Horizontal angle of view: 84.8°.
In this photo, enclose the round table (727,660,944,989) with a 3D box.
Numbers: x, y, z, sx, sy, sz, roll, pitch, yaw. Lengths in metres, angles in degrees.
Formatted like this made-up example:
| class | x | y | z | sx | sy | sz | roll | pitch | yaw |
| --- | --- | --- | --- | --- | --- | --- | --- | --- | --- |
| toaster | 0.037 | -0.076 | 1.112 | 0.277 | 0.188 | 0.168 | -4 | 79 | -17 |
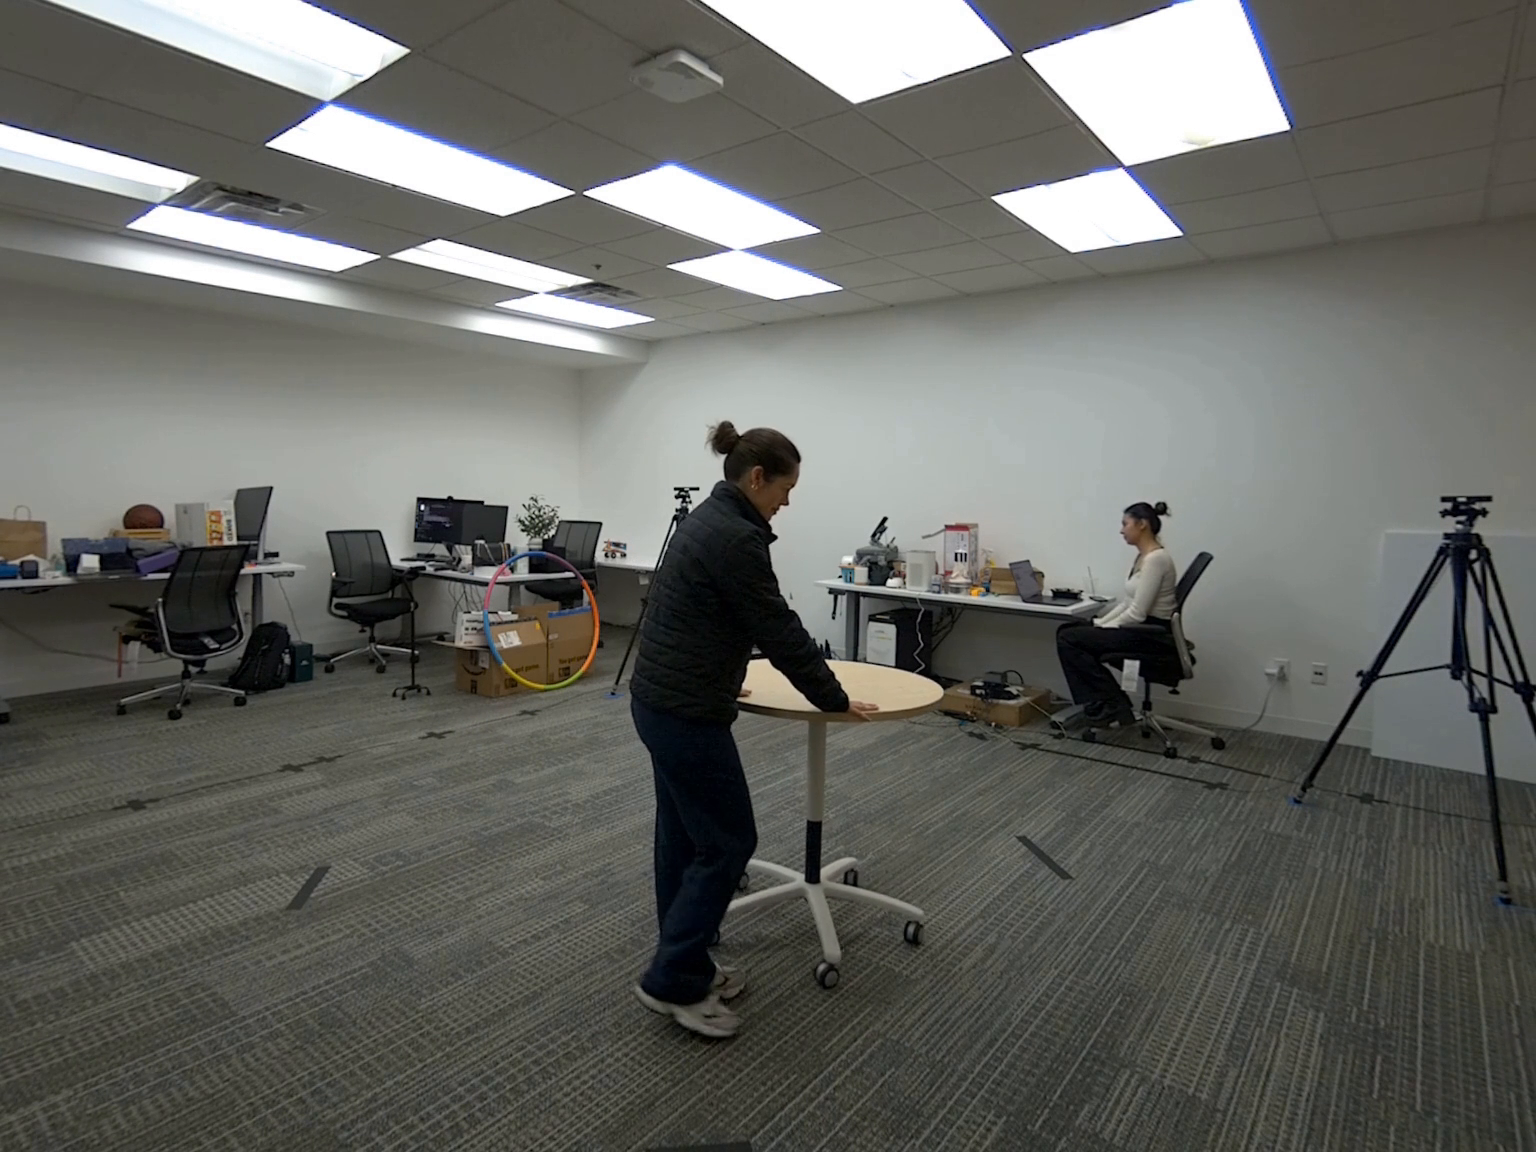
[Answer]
| class | x | y | z | sx | sy | sz | roll | pitch | yaw |
| --- | --- | --- | --- | --- | --- | --- | --- | --- | --- |
| round table | 0.158 | 0.720 | 2.705 | 0.784 | 0.784 | 0.789 | 1 | 4 | -2 |
